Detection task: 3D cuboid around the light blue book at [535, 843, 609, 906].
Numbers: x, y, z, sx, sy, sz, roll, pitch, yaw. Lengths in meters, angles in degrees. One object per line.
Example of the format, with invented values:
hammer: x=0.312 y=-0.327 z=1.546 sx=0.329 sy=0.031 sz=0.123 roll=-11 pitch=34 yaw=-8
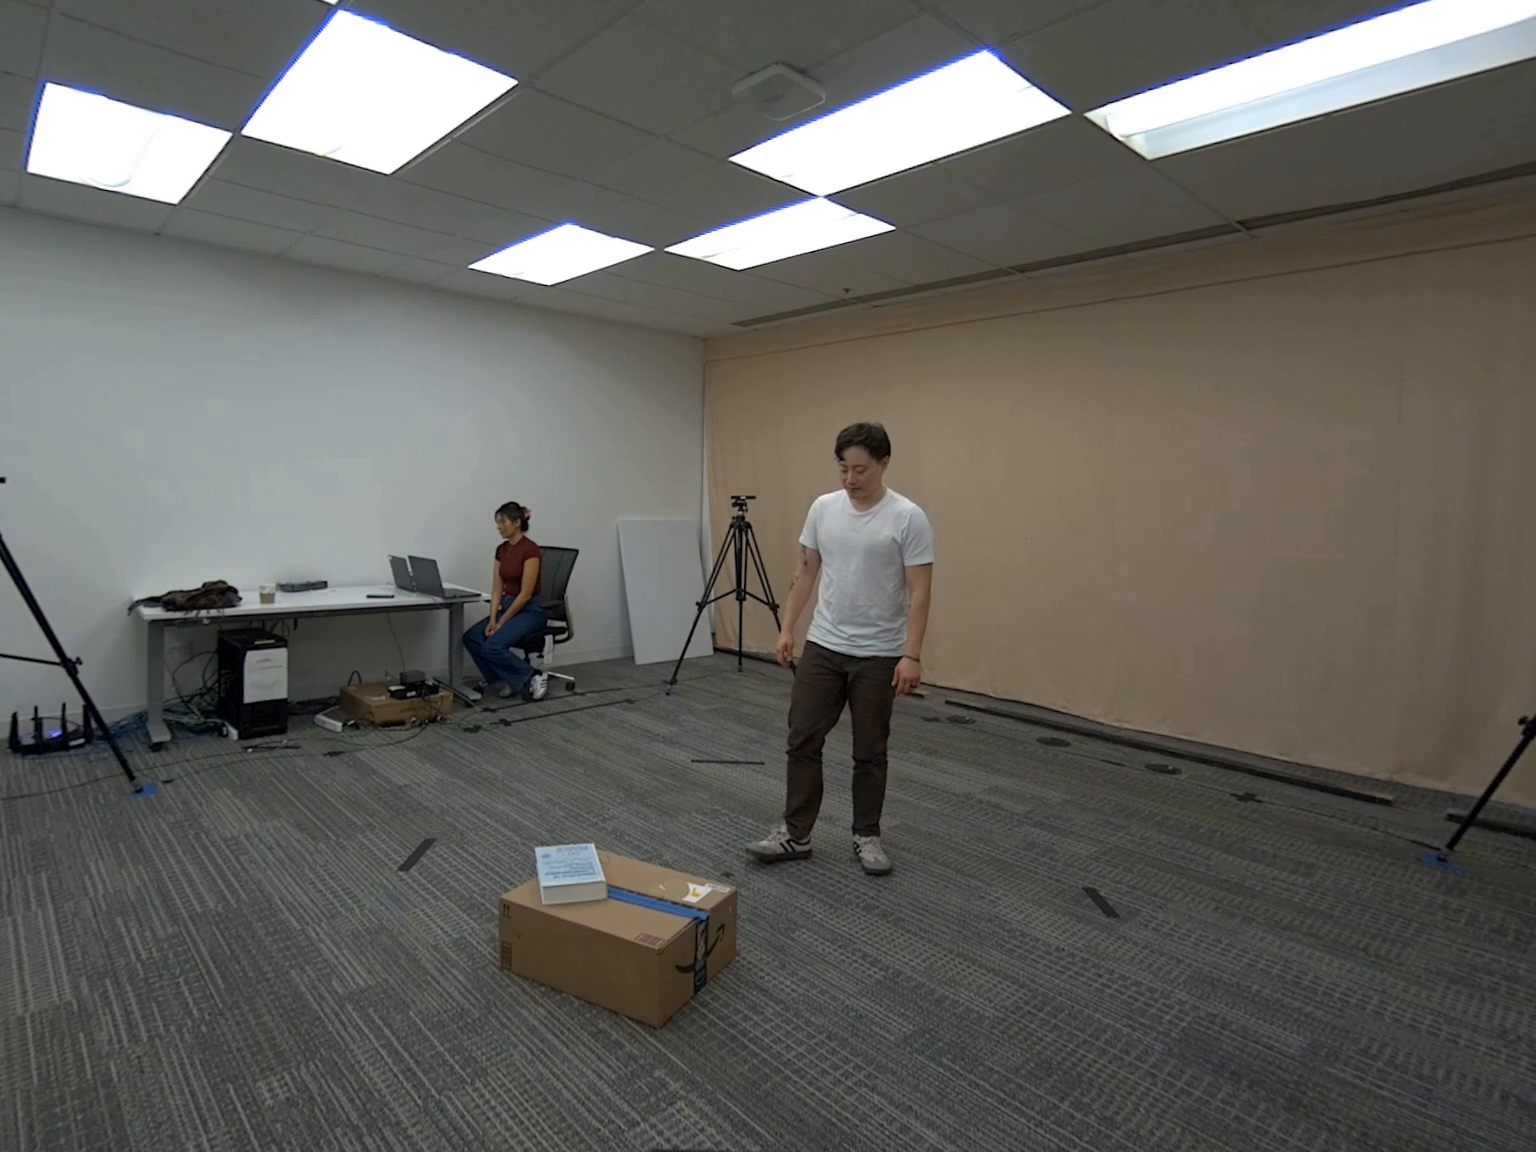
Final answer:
light blue book: x=-0.609 y=0.905 z=2.552 sx=0.188 sy=0.059 sz=0.266 roll=0 pitch=6 yaw=-19
